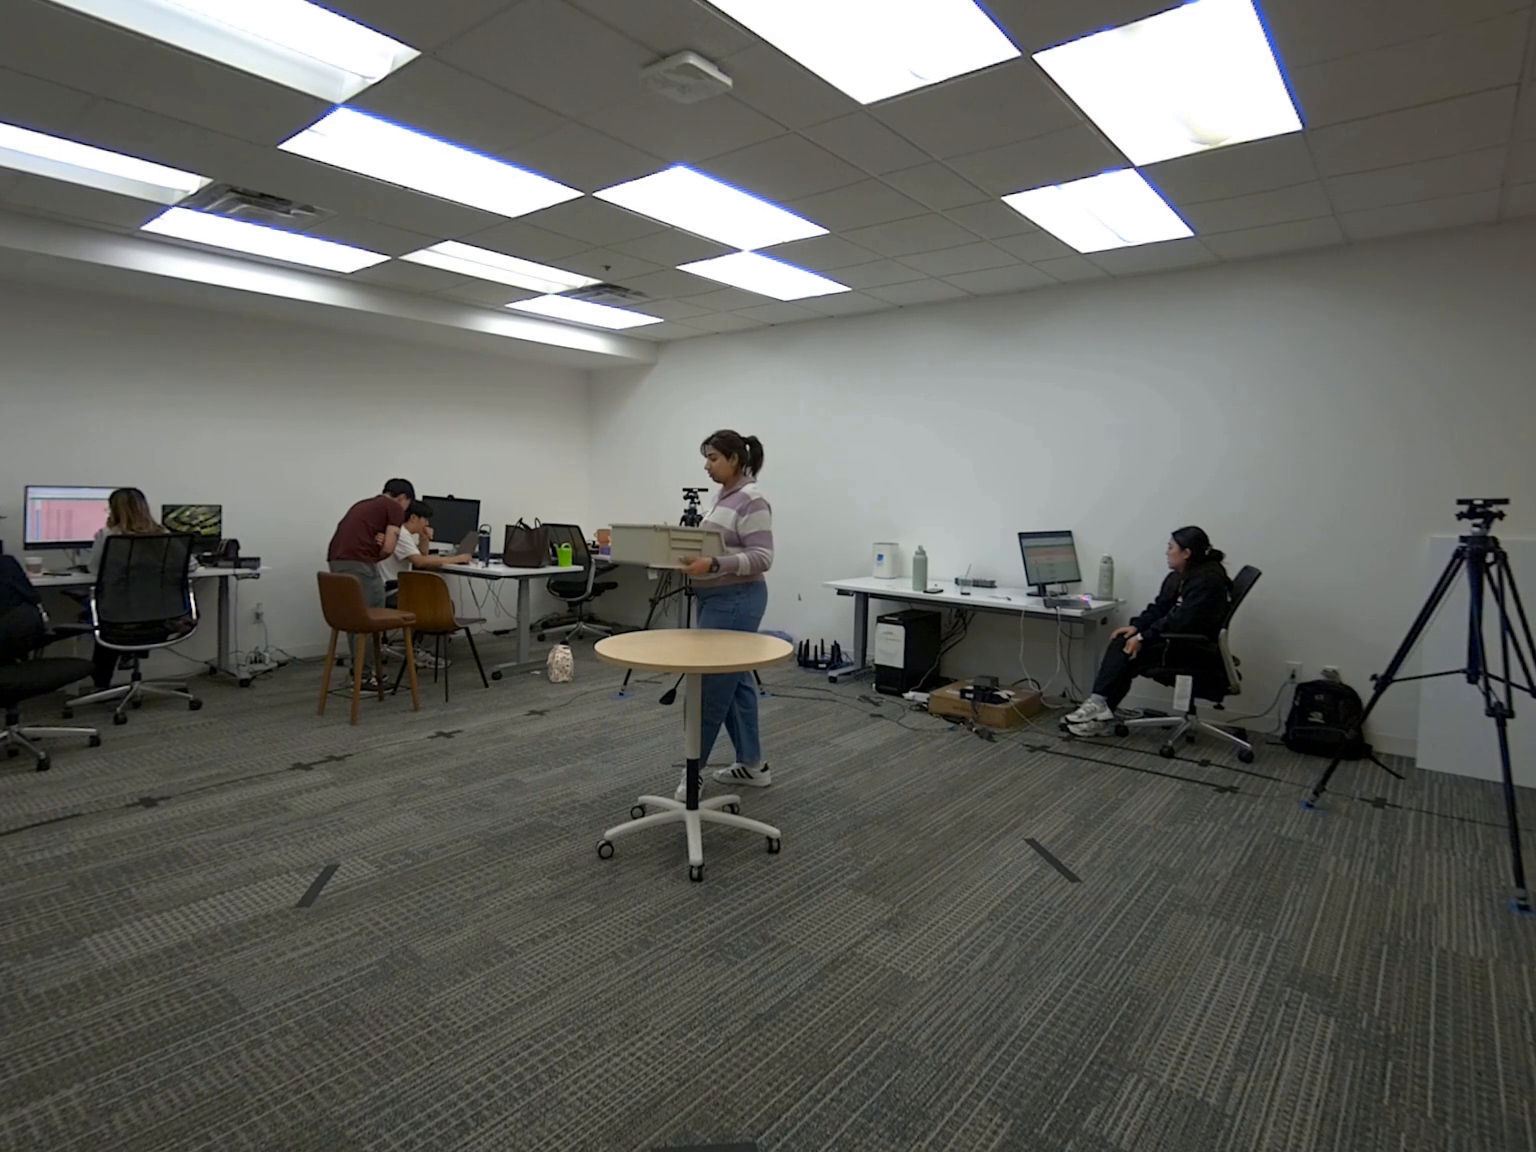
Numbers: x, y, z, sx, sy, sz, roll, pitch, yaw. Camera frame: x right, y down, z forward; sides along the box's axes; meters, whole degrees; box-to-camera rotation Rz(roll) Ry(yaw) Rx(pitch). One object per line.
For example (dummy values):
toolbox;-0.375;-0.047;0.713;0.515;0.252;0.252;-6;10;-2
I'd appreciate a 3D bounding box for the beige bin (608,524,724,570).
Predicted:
beige bin;-0.466;-0.135;3.801;0.366;0.188;0.436;0;4;-37
